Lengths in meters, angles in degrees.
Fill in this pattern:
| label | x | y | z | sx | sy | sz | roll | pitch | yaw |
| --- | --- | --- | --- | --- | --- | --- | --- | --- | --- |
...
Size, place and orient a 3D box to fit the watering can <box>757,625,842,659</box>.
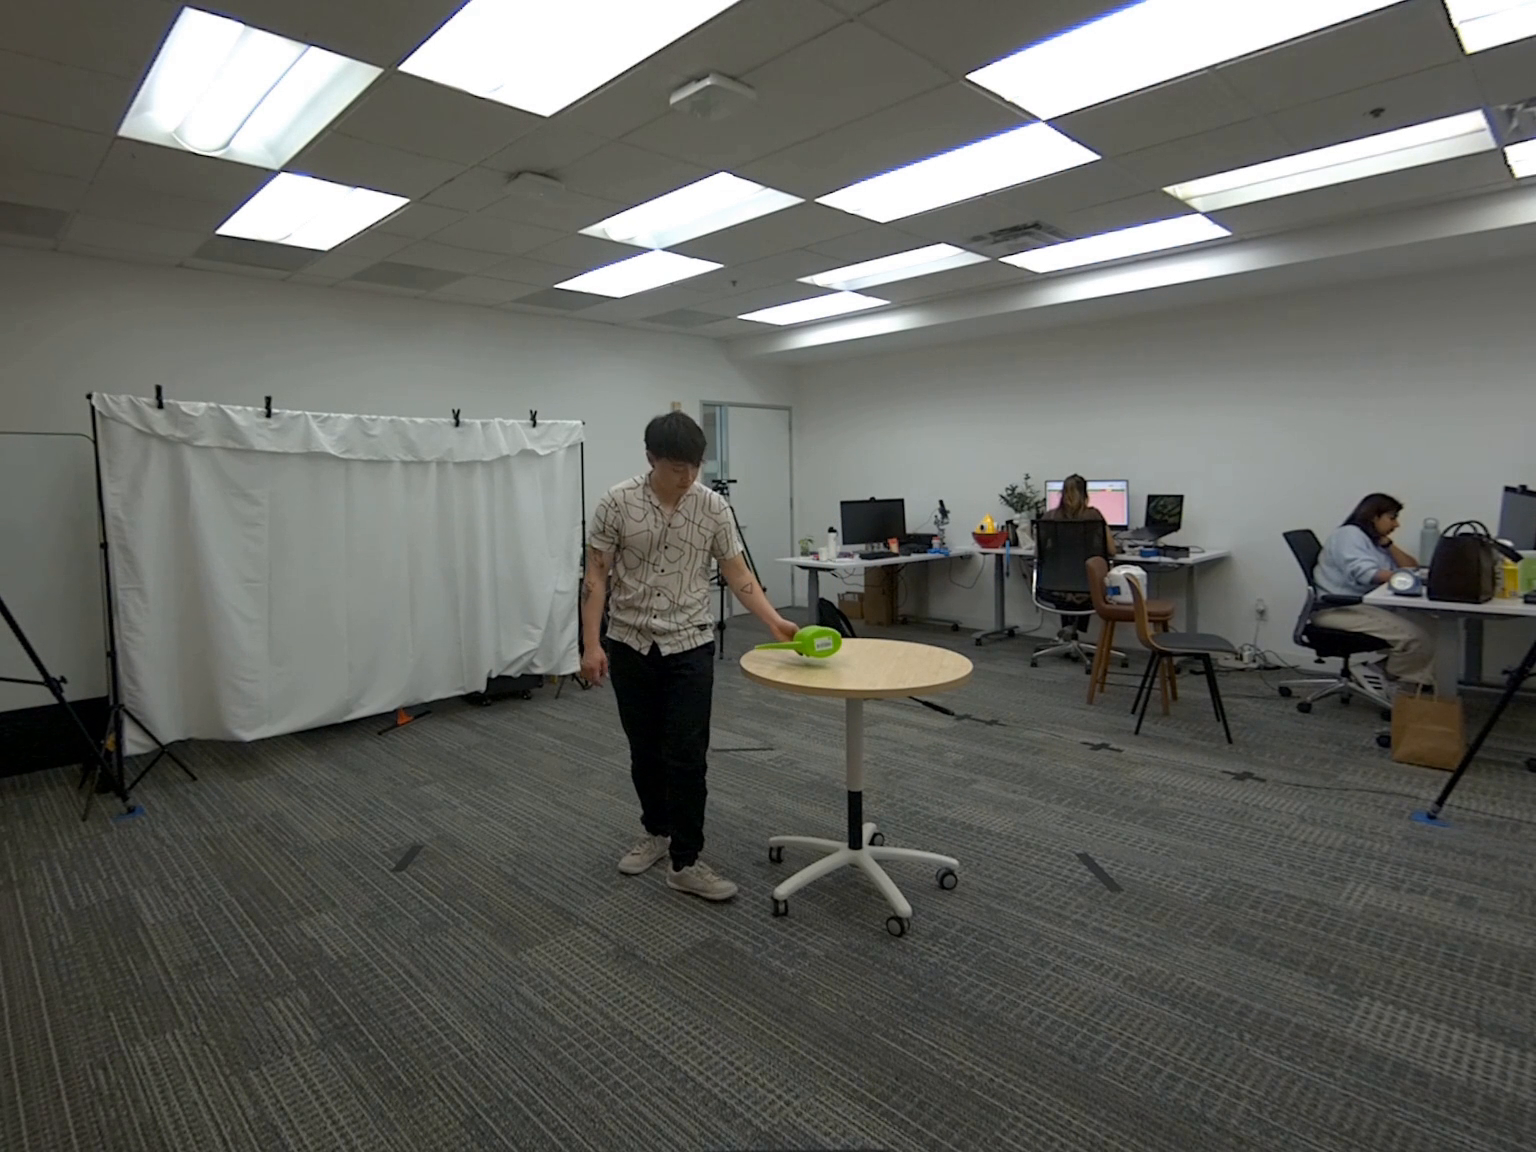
| label | x | y | z | sx | sy | sz | roll | pitch | yaw |
| --- | --- | --- | --- | --- | --- | --- | --- | --- | --- |
| watering can | 0.120 | 0.233 | 2.812 | 0.276 | 0.098 | 0.178 | -21 | 4 | -11 |
